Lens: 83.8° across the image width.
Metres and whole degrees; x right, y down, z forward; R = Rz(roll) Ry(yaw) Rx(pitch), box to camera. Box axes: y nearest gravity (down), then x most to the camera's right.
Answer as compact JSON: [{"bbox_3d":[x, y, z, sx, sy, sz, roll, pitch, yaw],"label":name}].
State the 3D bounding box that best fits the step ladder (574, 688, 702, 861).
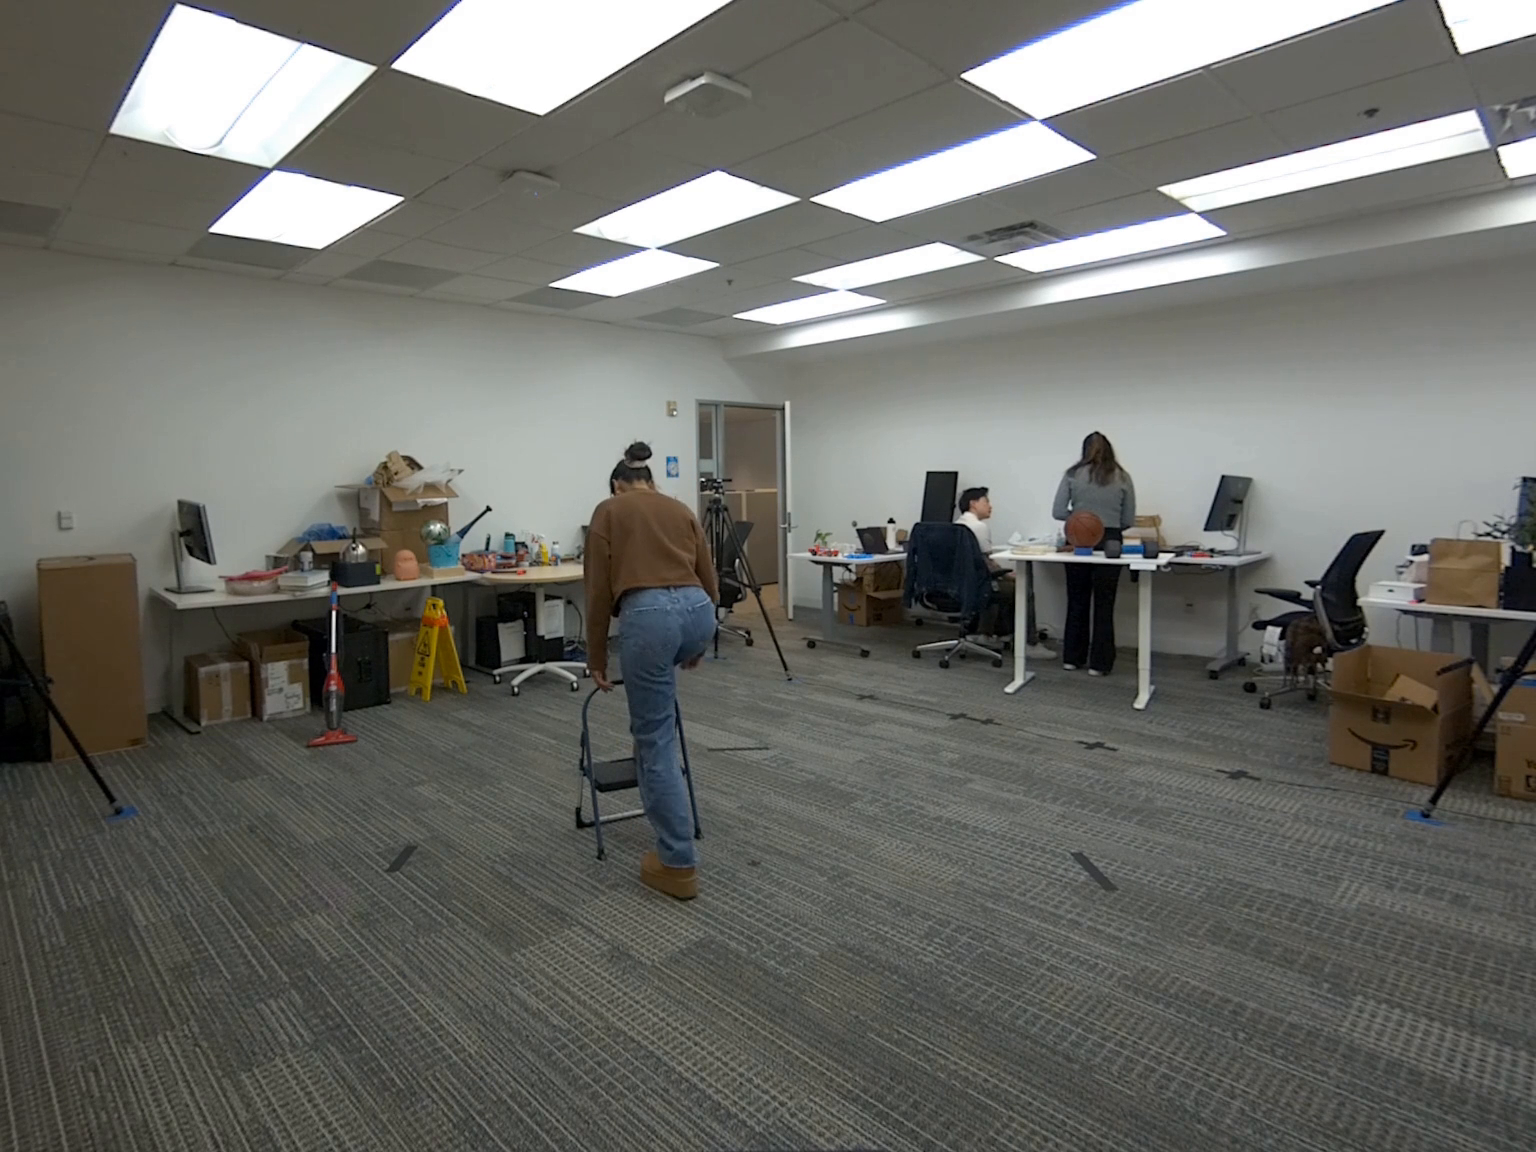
[{"bbox_3d":[-0.522,0.721,3.379,0.421,0.604,0.358,-3,4,-28],"label":"step ladder"}]
